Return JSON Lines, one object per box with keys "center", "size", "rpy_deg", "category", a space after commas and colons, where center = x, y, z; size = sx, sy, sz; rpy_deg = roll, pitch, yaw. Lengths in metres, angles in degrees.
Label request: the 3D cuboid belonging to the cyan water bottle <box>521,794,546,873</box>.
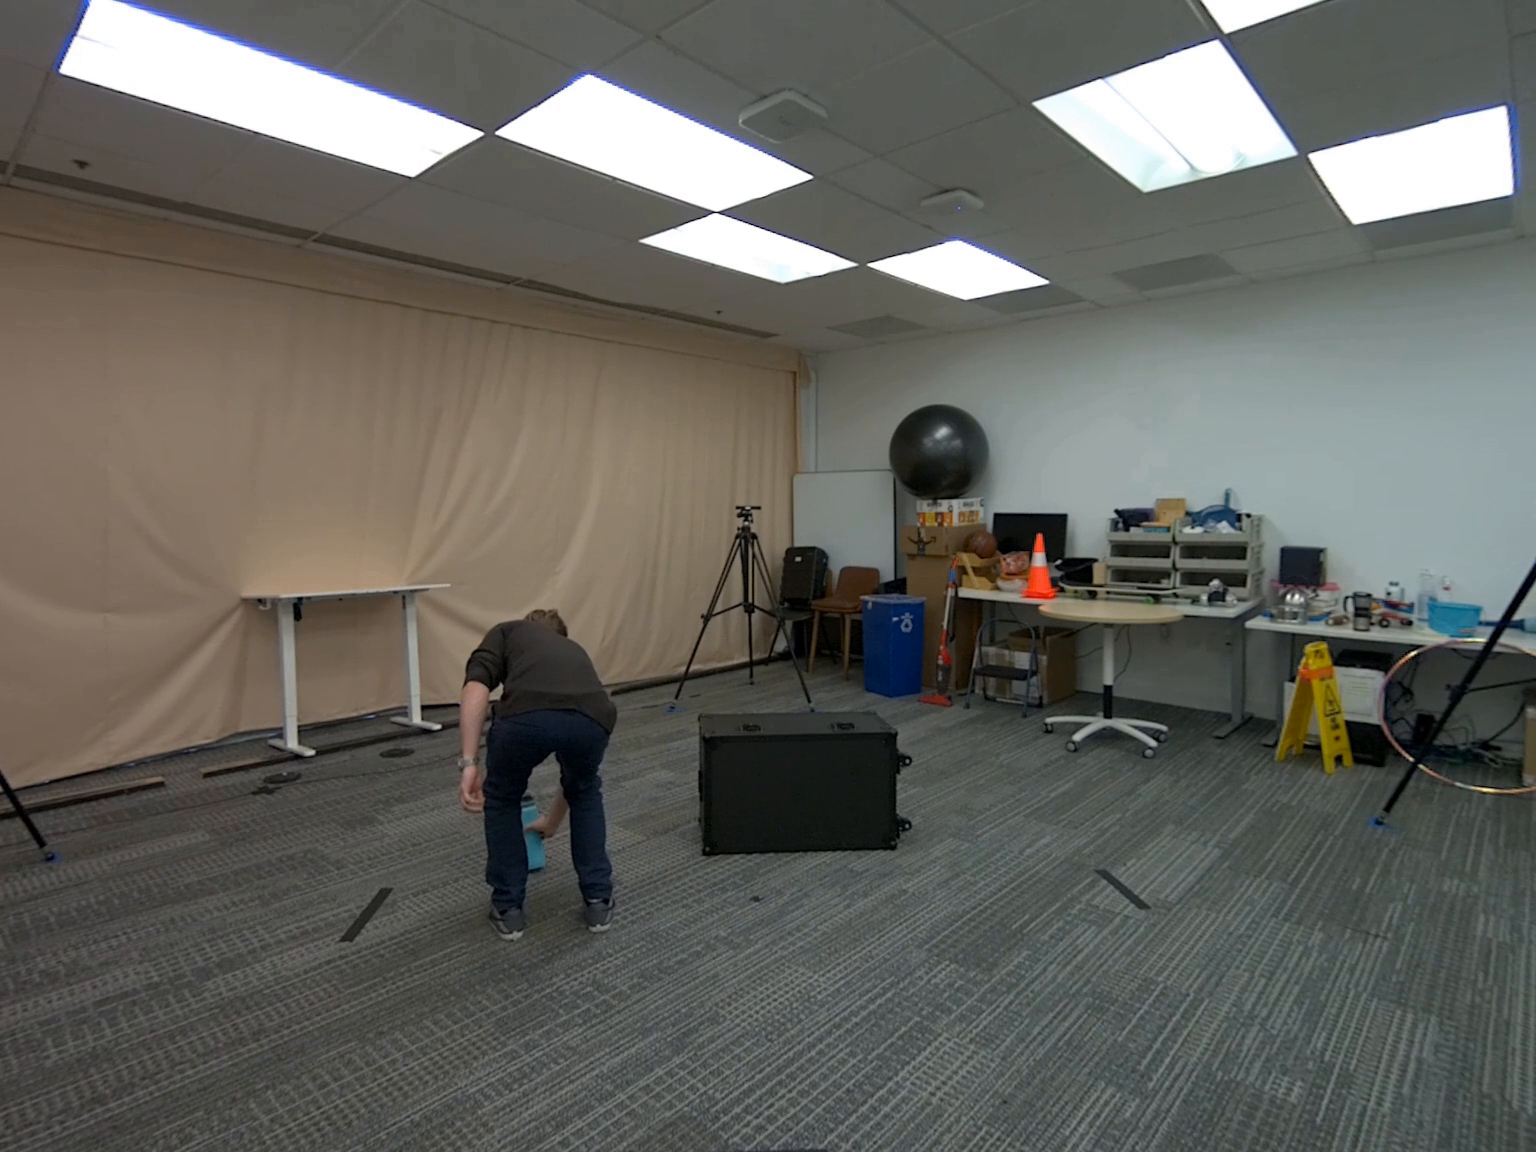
{"center": [-0.926, 0.985, 3.263], "size": [0.092, 0.286, 0.092], "rpy_deg": [-12, -12, -4], "category": "cyan water bottle"}
